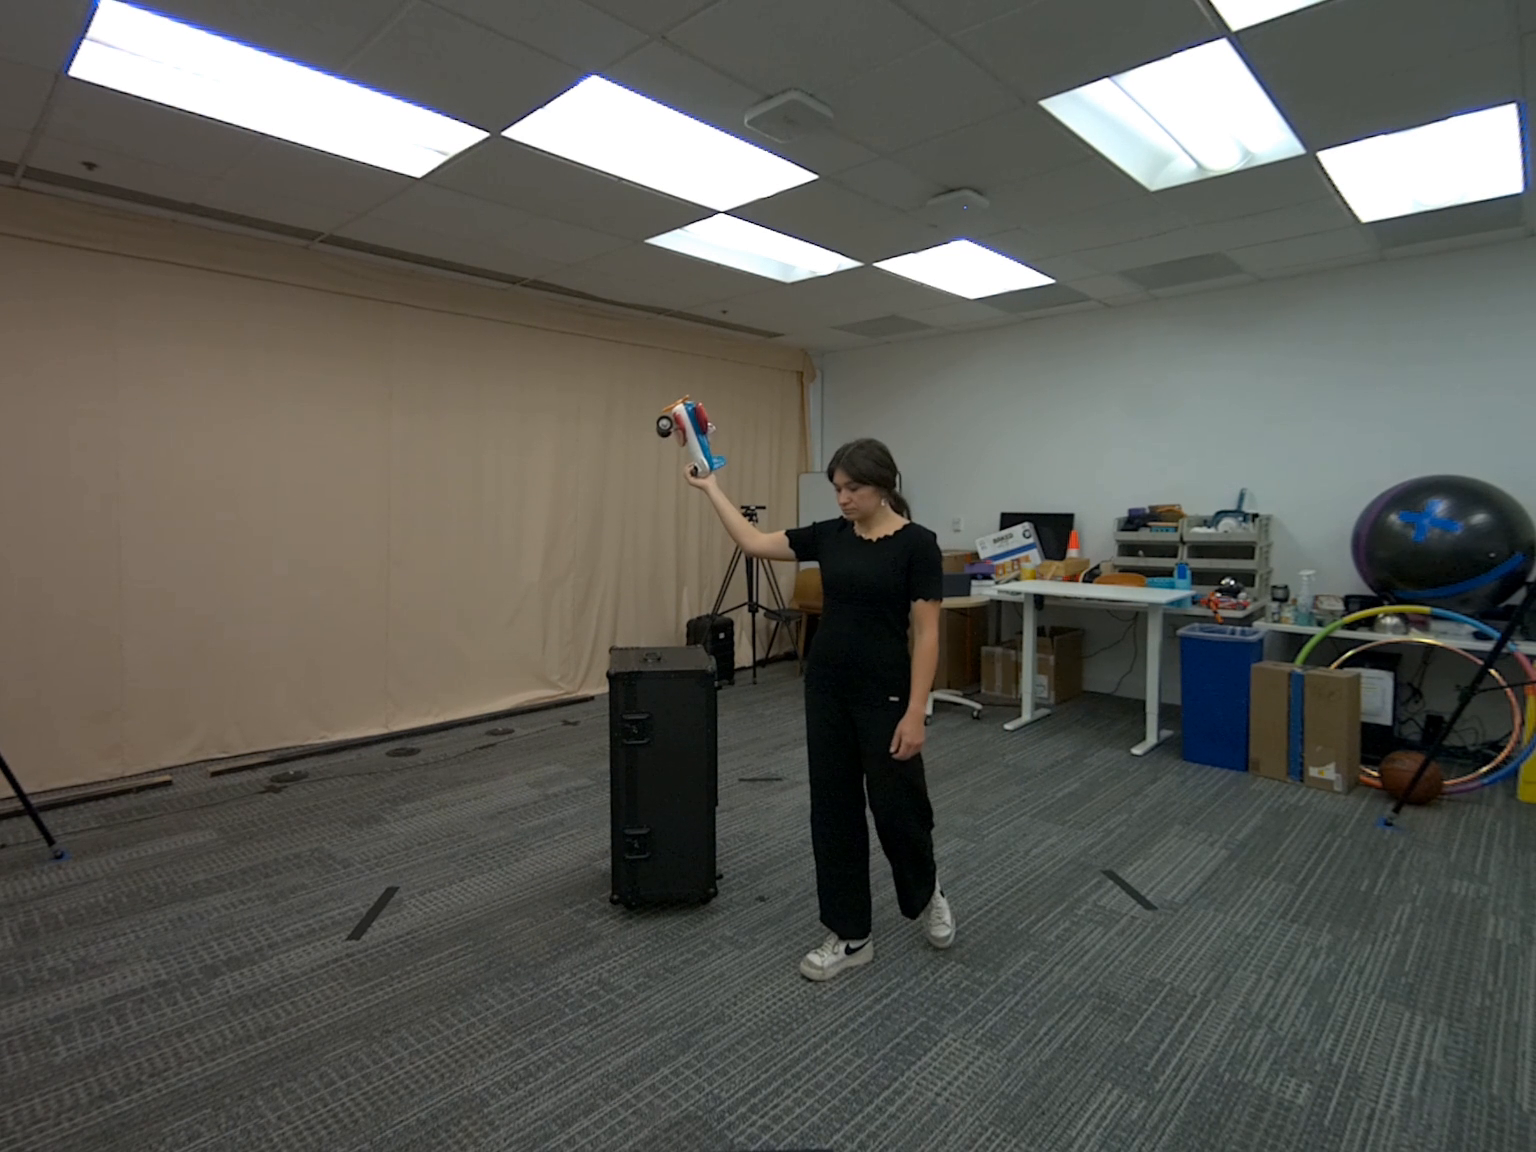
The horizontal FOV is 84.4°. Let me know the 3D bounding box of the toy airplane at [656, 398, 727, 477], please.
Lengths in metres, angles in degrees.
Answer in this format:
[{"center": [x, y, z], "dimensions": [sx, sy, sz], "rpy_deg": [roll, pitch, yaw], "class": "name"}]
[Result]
[{"center": [-0.254, -0.455, 2.796], "dimensions": [0.156, 0.252, 0.258], "rpy_deg": [-36, 28, -6], "class": "toy airplane"}]
